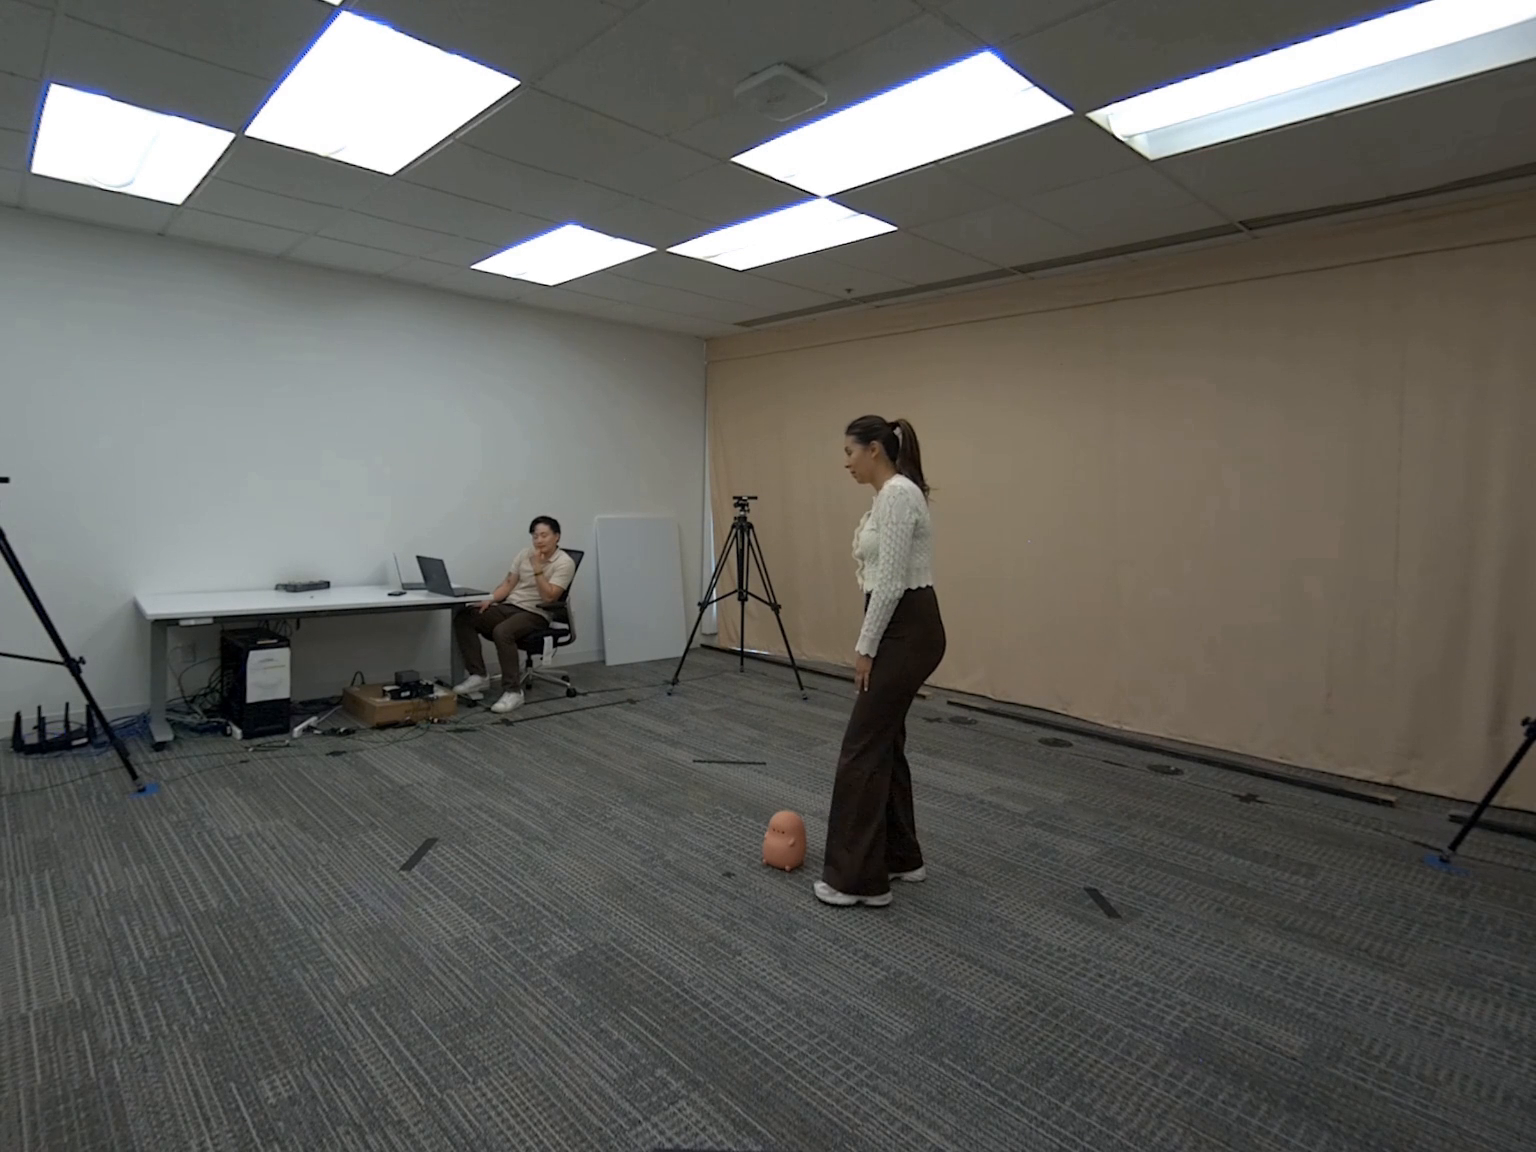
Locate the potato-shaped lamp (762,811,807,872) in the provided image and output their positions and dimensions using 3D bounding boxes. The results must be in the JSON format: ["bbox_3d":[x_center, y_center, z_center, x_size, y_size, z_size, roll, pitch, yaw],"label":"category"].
[{"bbox_3d":[0.060,0.992,3.207,0.169,0.197,0.168,7,8,33],"label":"potato-shaped lamp"}]
